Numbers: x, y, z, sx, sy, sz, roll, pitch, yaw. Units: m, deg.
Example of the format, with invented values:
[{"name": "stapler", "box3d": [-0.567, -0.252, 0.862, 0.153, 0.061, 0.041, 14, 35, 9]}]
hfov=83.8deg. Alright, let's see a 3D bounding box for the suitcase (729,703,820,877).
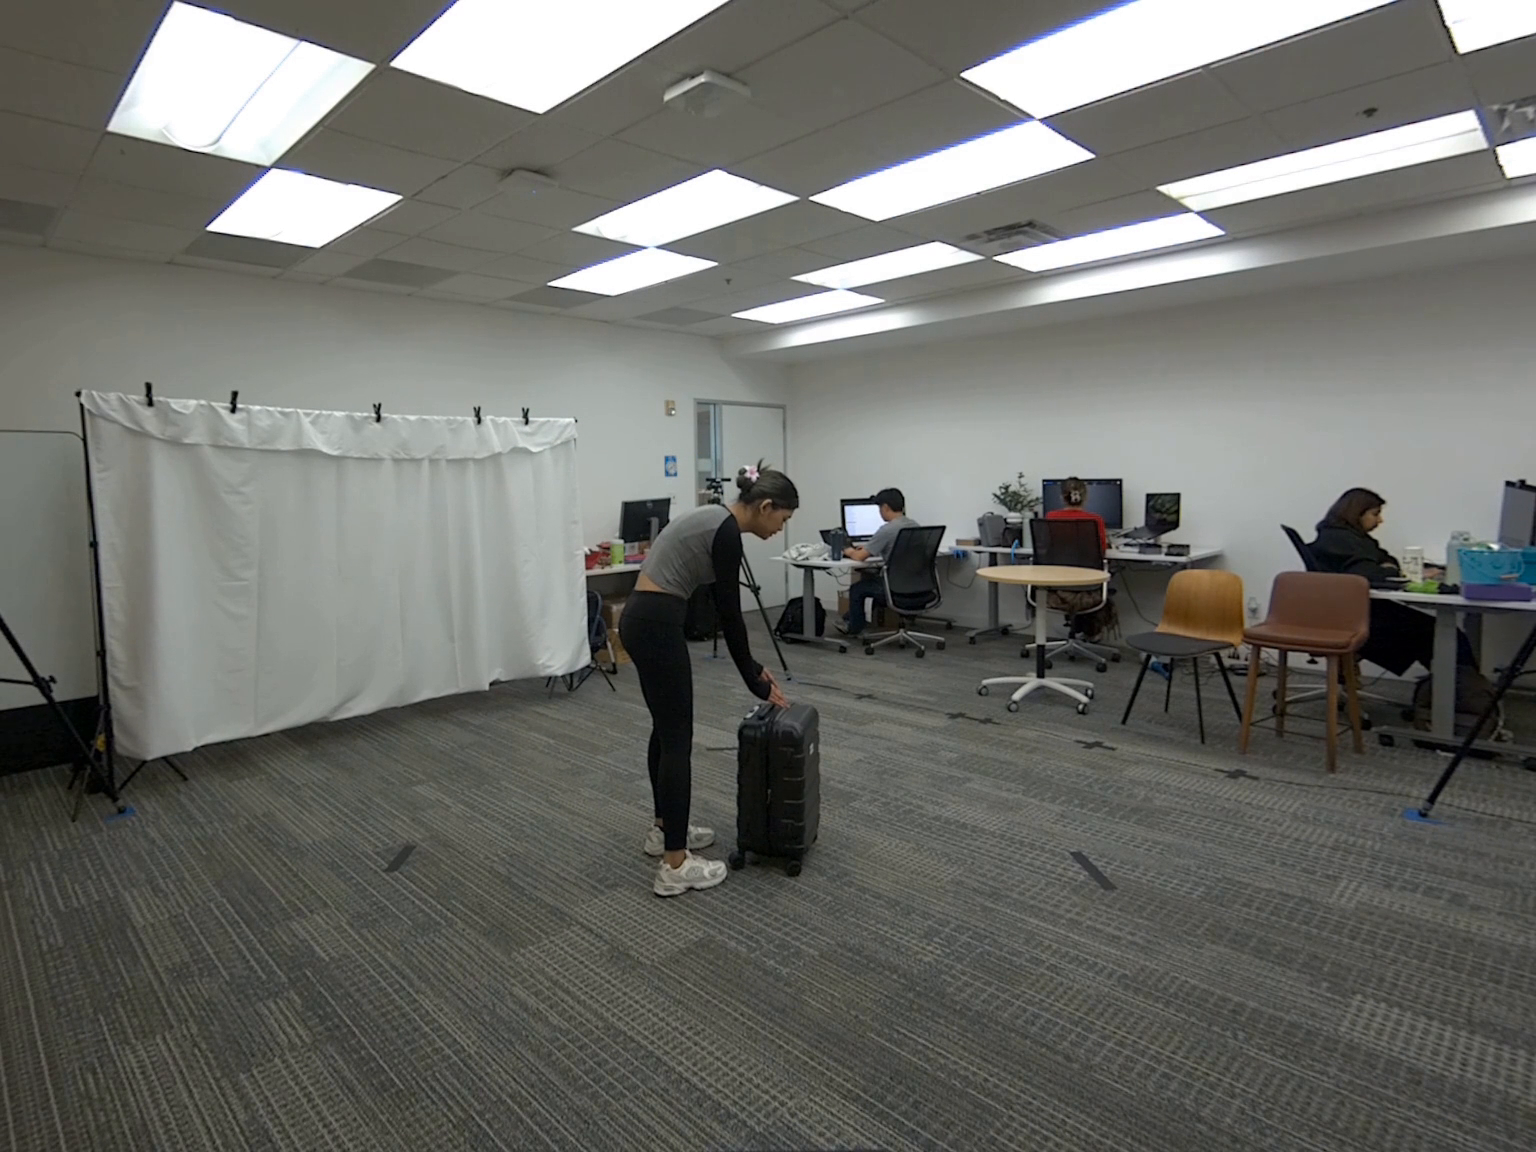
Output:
[{"name": "suitcase", "box3d": [0.043, 0.757, 3.169, 0.253, 0.547, 0.370, 2, 4, 17]}]
